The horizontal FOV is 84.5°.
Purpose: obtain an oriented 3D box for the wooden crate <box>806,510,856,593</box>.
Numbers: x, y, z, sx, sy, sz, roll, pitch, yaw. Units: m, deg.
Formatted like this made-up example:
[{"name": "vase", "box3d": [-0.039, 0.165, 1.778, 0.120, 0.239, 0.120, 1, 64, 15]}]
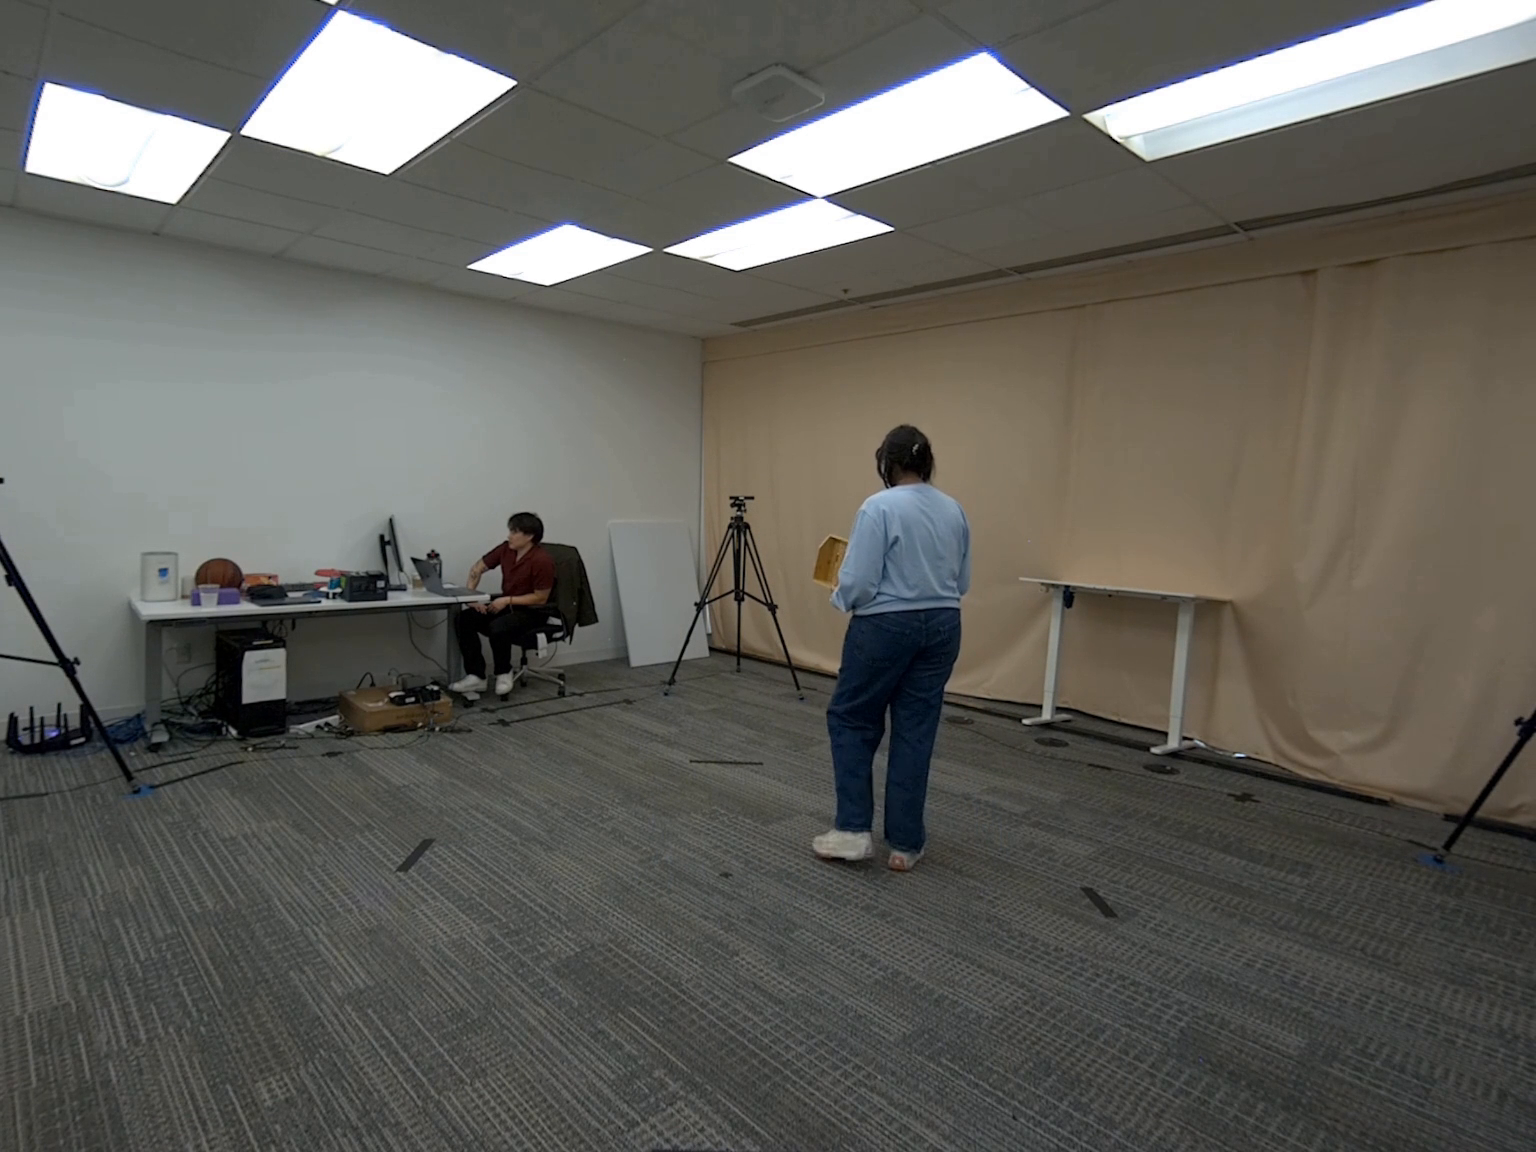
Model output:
[{"name": "wooden crate", "box3d": [0.389, -0.075, 3.475, 0.267, 0.301, 0.333, 8, 9, -31]}]
